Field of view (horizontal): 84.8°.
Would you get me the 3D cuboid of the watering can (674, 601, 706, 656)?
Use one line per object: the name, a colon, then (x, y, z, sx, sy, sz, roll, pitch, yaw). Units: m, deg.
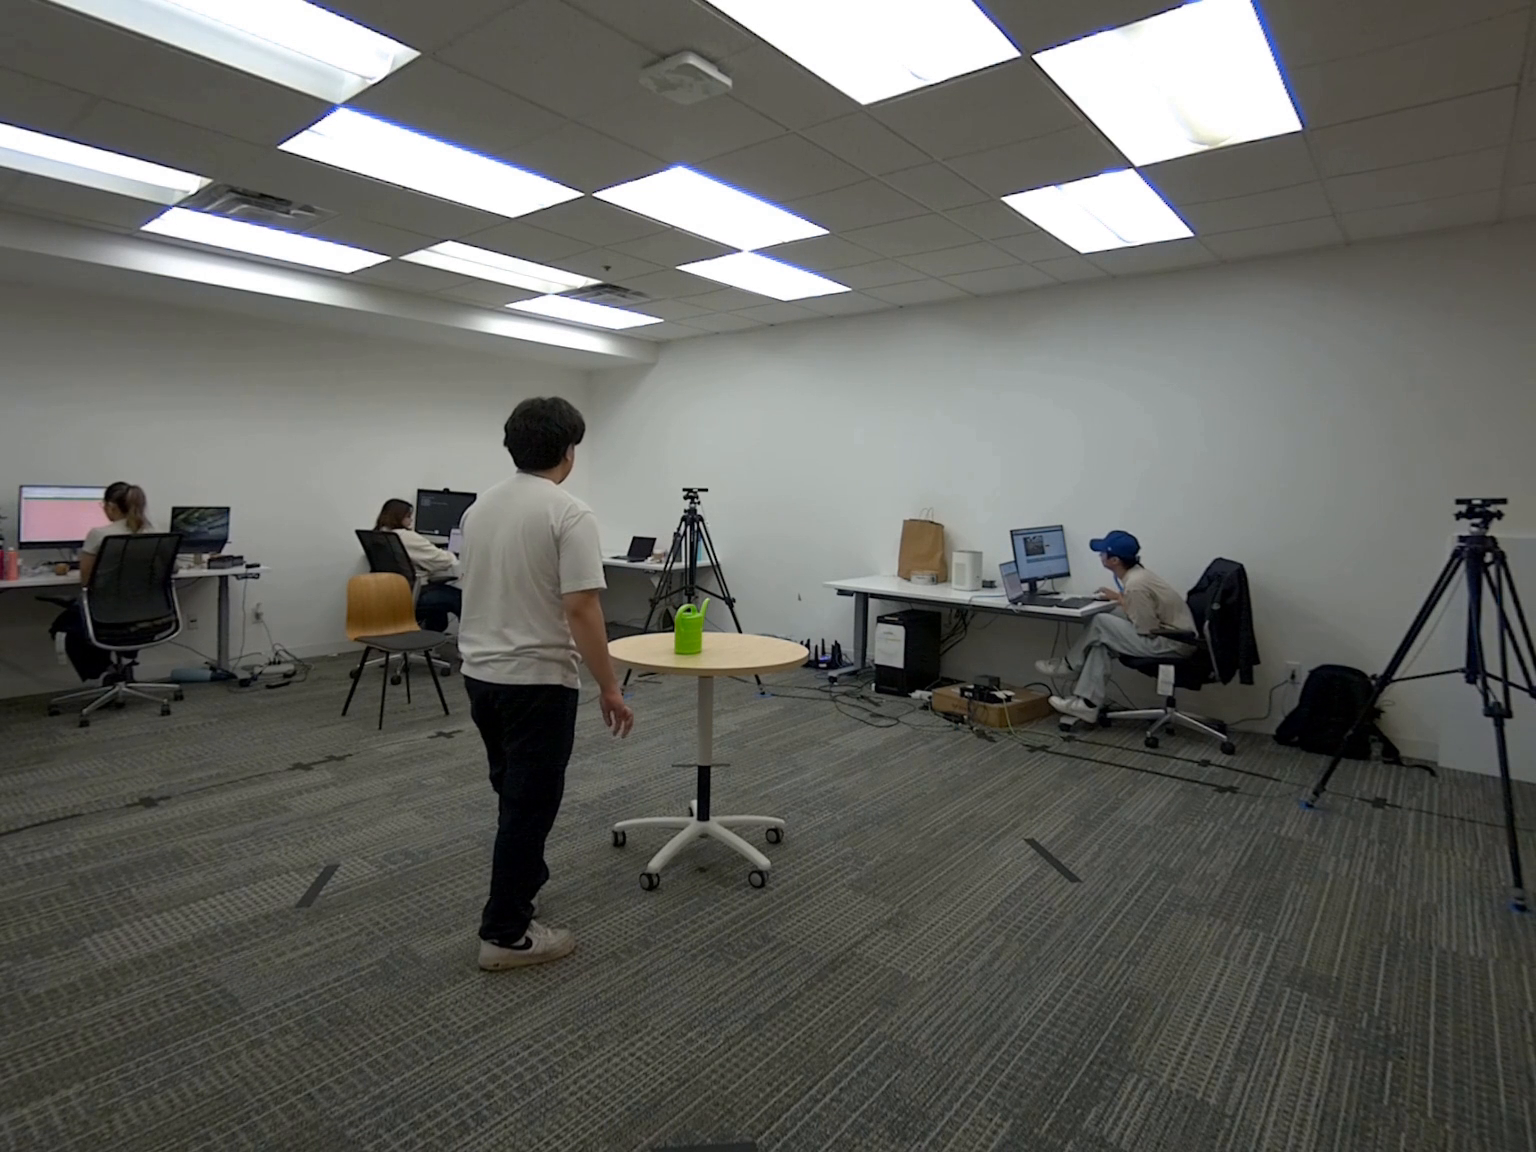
watering can: (-0.278, 0.187, 3.144, 0.101, 0.176, 0.271, 1, 4, 34)
